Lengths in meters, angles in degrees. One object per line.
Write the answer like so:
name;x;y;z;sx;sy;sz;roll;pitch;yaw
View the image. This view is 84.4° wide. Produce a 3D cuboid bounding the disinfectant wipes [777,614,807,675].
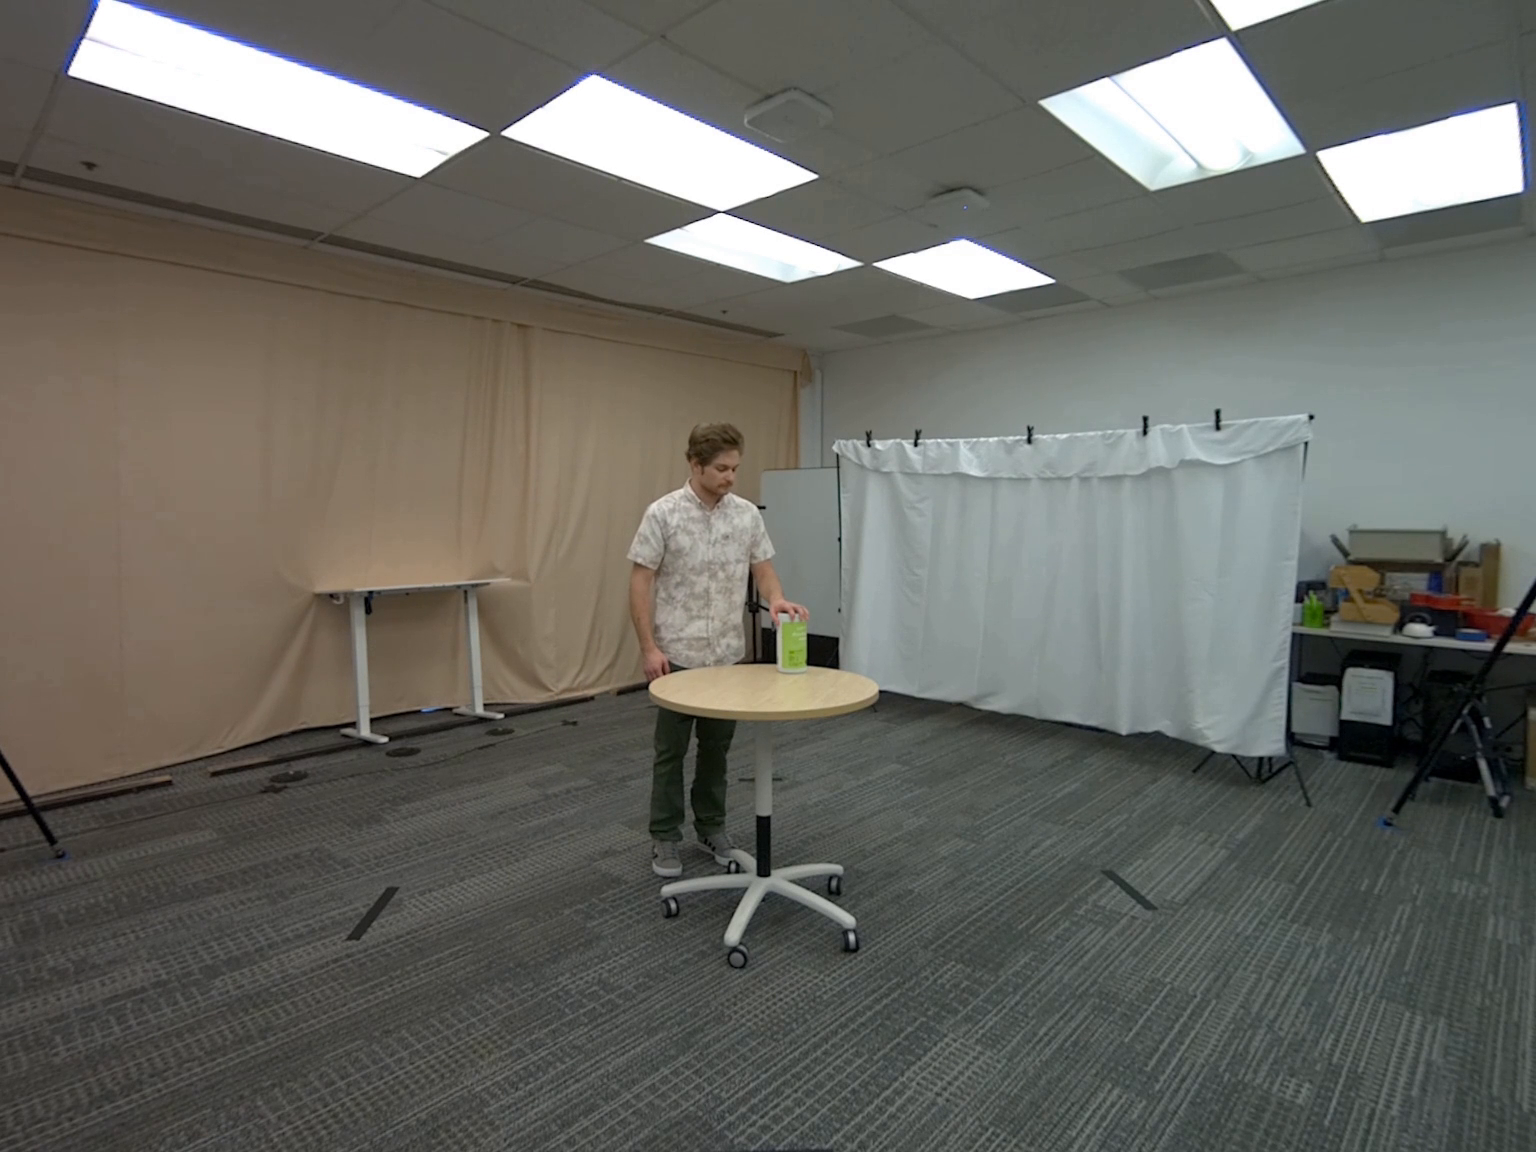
disinfectant wipes;0.087;0.242;3.058;0.118;0.217;0.118;1;2;-2
